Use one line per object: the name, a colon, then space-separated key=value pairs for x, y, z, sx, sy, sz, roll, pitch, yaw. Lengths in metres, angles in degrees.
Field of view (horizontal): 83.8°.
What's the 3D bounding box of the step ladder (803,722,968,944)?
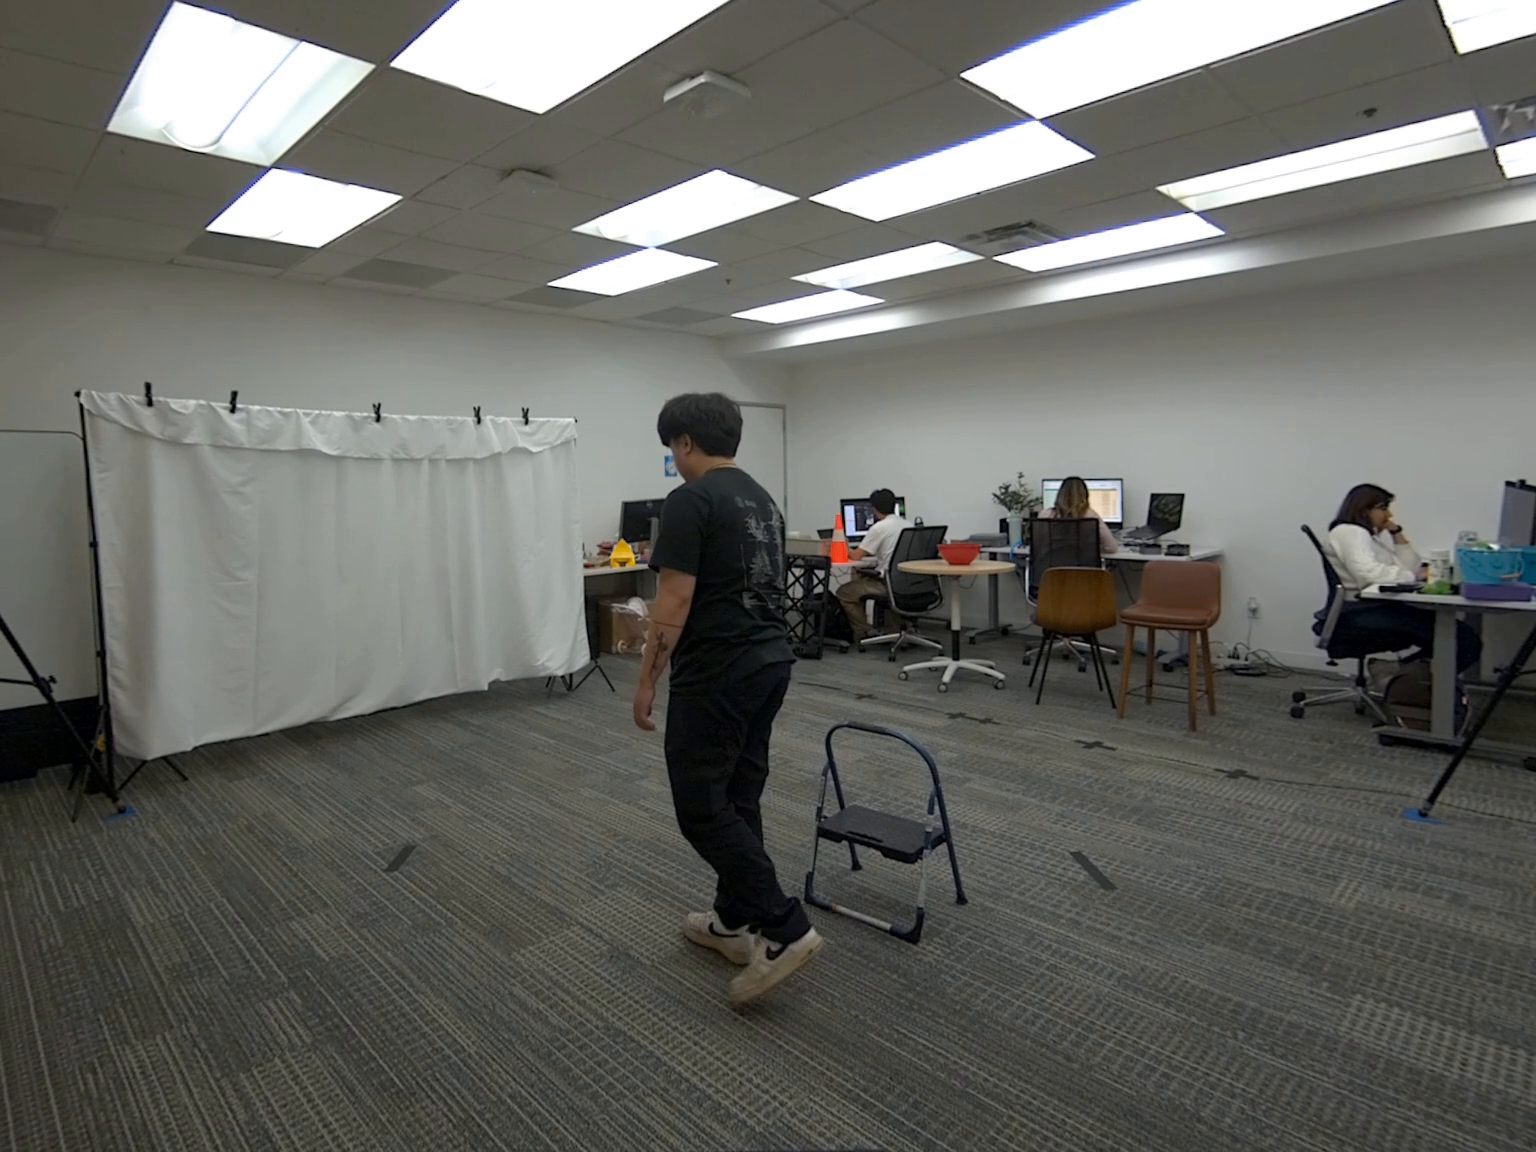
step ladder: x=0.381 y=0.768 z=2.786 sx=0.443 sy=0.604 sz=0.340 roll=2 pitch=5 yaw=38
